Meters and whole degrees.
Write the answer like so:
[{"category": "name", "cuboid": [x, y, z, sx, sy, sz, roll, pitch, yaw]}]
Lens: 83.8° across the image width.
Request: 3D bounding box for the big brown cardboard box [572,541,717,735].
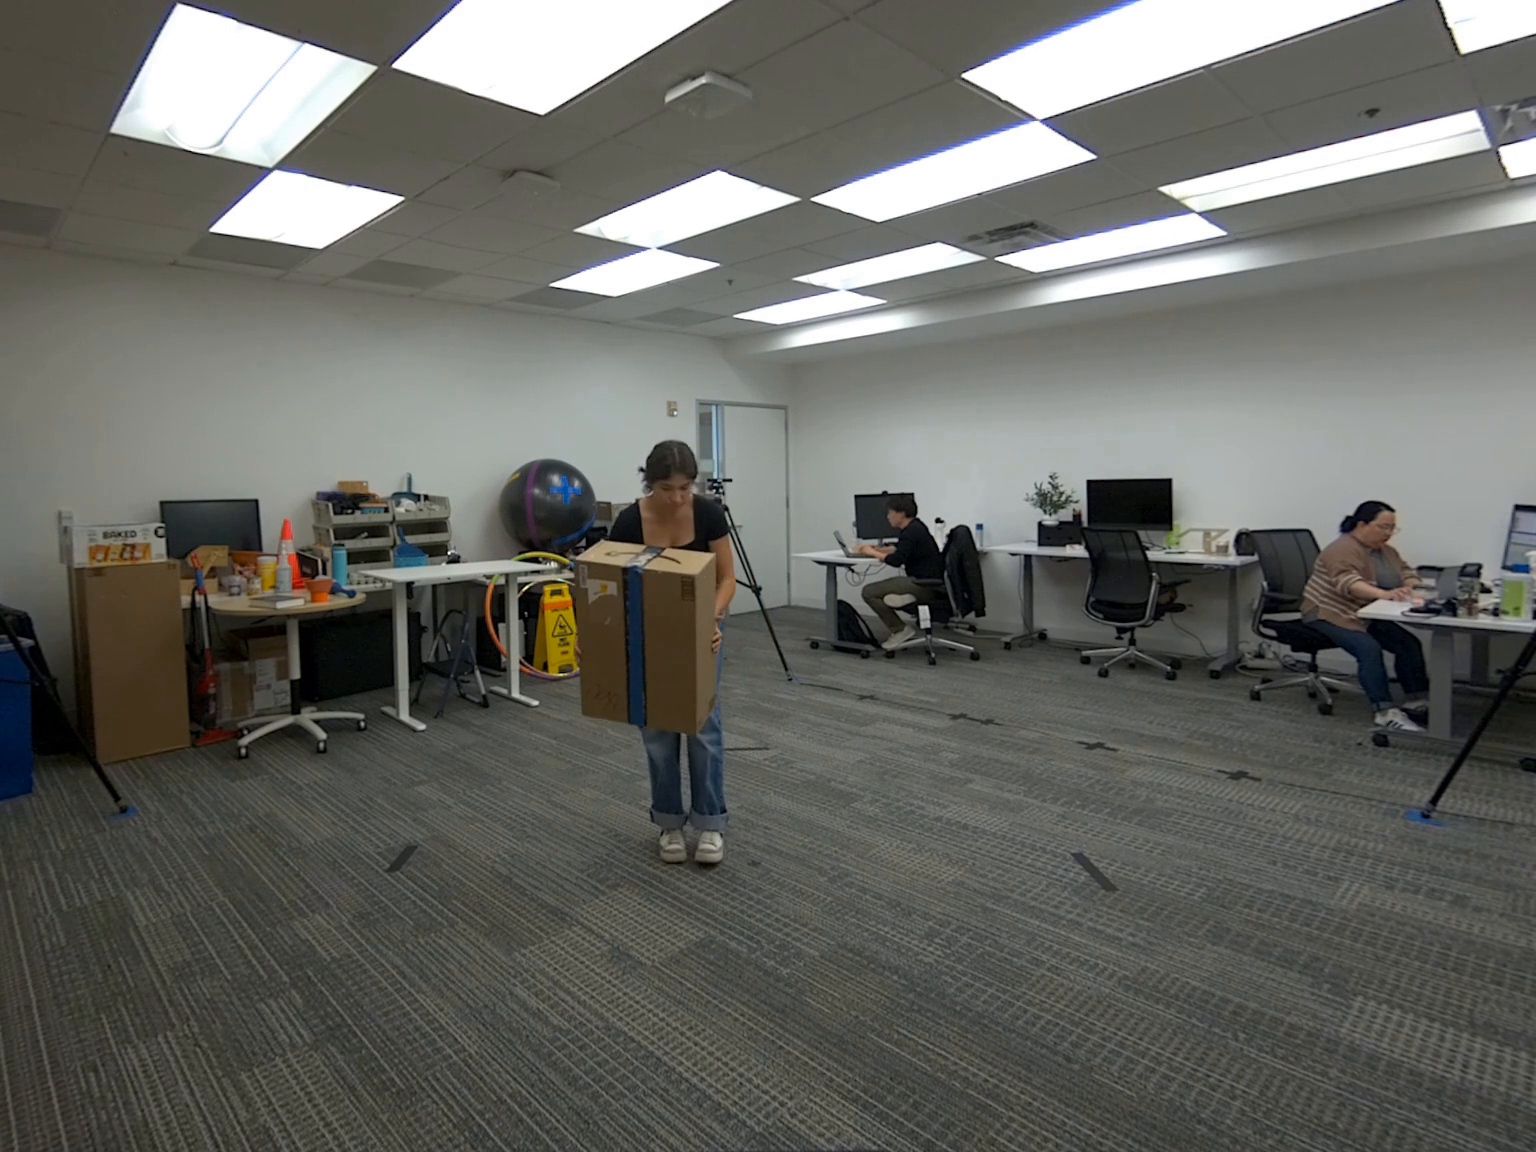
[{"category": "big brown cardboard box", "cuboid": [-0.399, 0.195, 2.857, 0.424, 0.579, 0.233, 6, 20, 15]}]
